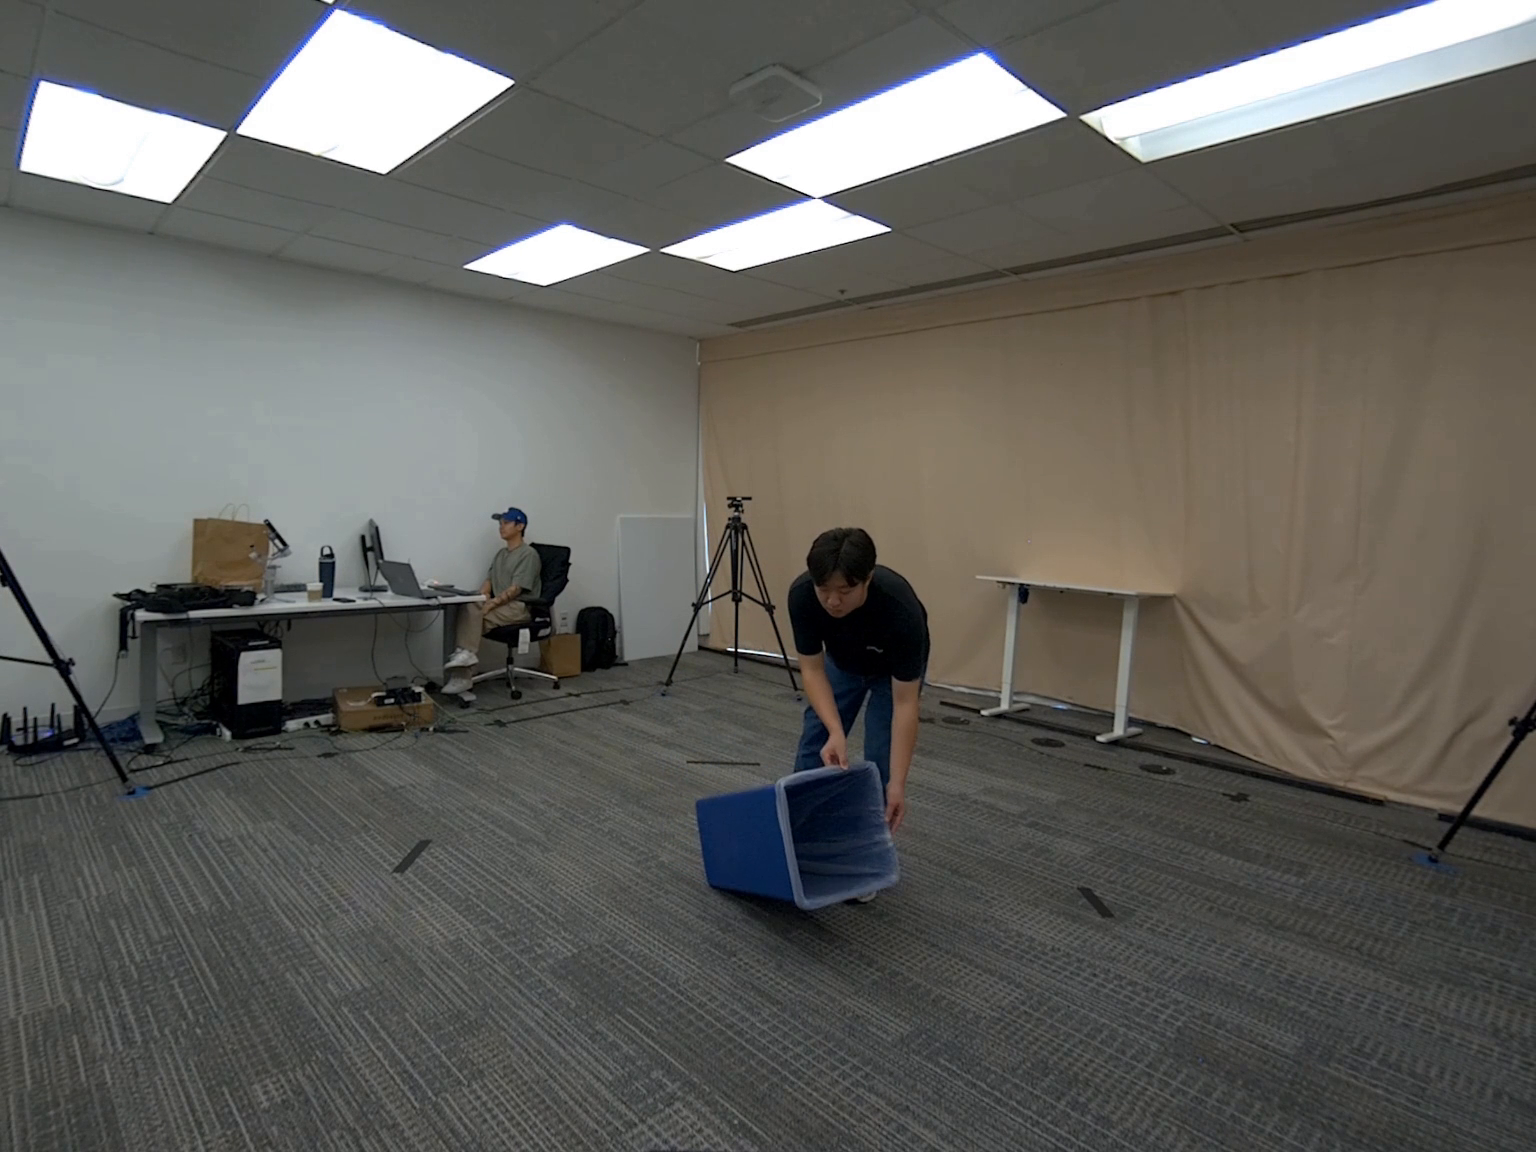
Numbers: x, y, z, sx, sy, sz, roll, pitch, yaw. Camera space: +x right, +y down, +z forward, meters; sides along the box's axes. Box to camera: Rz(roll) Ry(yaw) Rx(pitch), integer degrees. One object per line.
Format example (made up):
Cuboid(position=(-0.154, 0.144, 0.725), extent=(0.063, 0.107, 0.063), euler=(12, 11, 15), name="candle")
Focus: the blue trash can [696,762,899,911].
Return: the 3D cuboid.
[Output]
Cuboid(position=(0.046, 0.868, 2.821), extent=(0.367, 0.383, 0.718), euler=(-3, -15, -30), name="blue trash can")
